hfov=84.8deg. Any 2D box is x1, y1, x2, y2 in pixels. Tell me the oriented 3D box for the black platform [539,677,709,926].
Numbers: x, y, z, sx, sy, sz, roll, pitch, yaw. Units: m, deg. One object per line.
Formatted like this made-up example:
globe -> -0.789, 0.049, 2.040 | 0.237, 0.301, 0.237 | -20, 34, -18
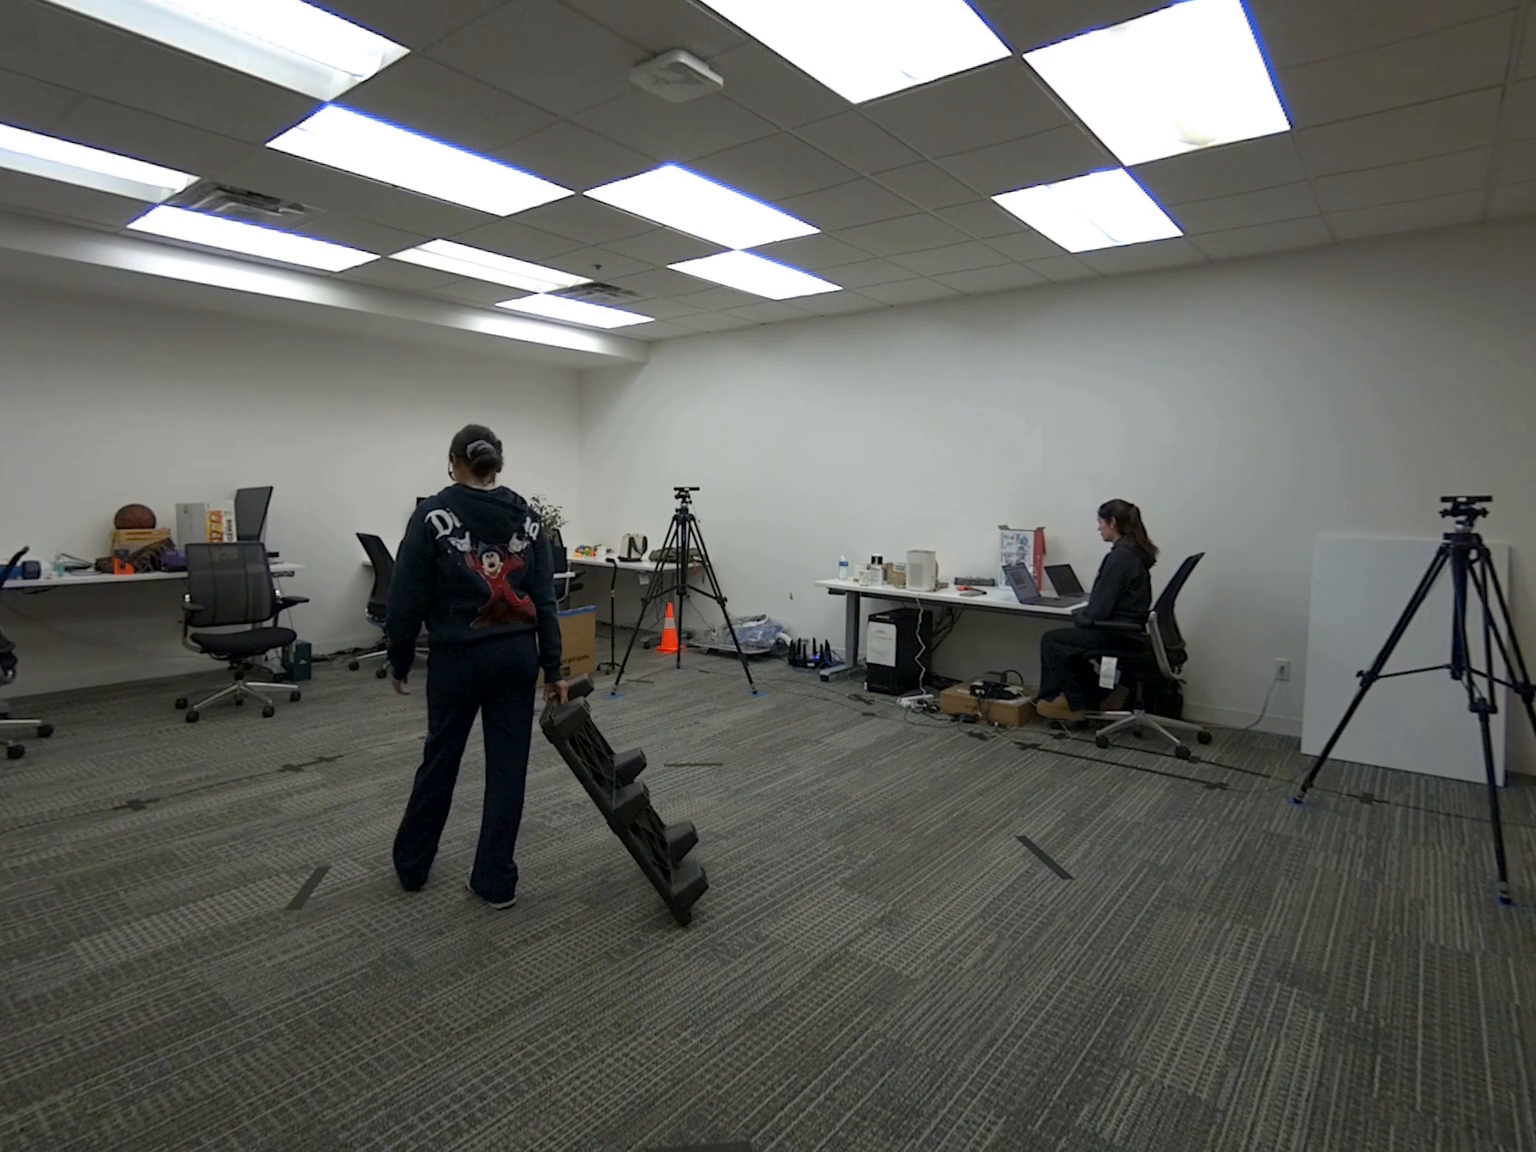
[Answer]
black platform -> -0.495, 0.715, 2.930 | 0.143, 0.799, 0.611 | -34, 7, -4
